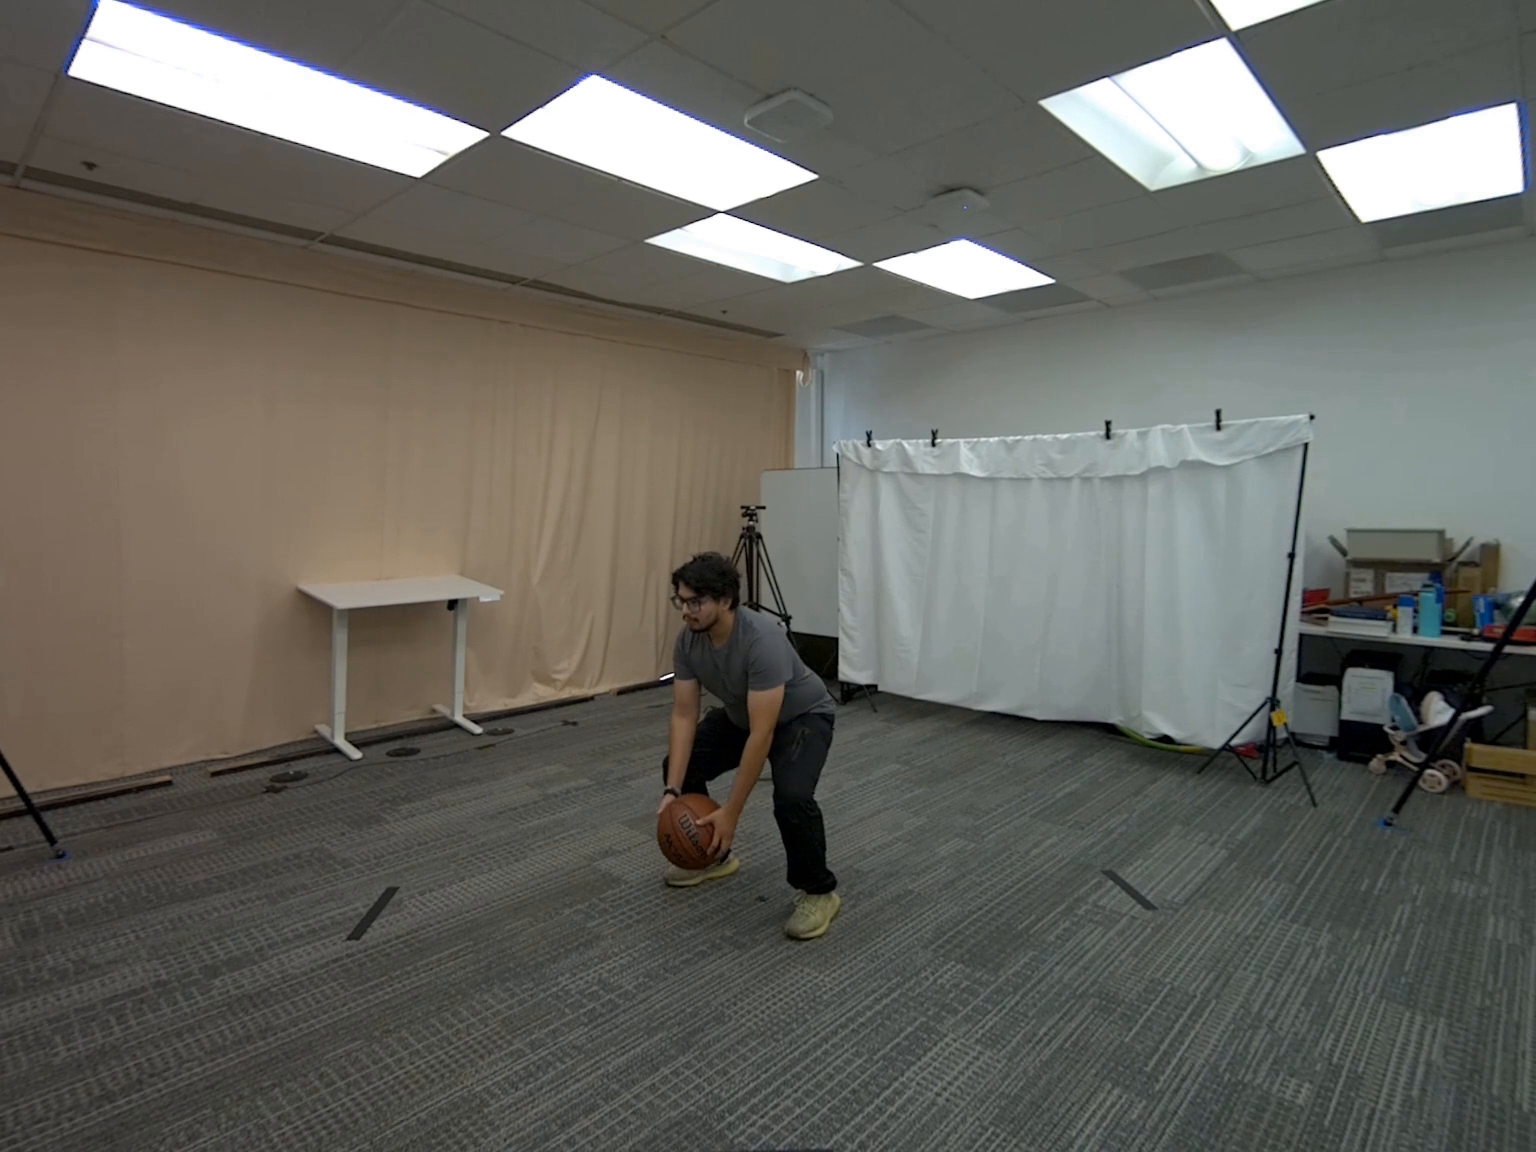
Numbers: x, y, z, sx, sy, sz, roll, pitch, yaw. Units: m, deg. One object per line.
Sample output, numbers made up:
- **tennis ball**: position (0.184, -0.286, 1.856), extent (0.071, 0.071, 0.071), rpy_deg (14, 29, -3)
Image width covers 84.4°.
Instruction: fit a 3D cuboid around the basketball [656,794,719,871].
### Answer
- **basketball**: position (-0.244, 0.829, 2.756), extent (0.236, 0.235, 0.237), rpy_deg (0, 4, -2)
